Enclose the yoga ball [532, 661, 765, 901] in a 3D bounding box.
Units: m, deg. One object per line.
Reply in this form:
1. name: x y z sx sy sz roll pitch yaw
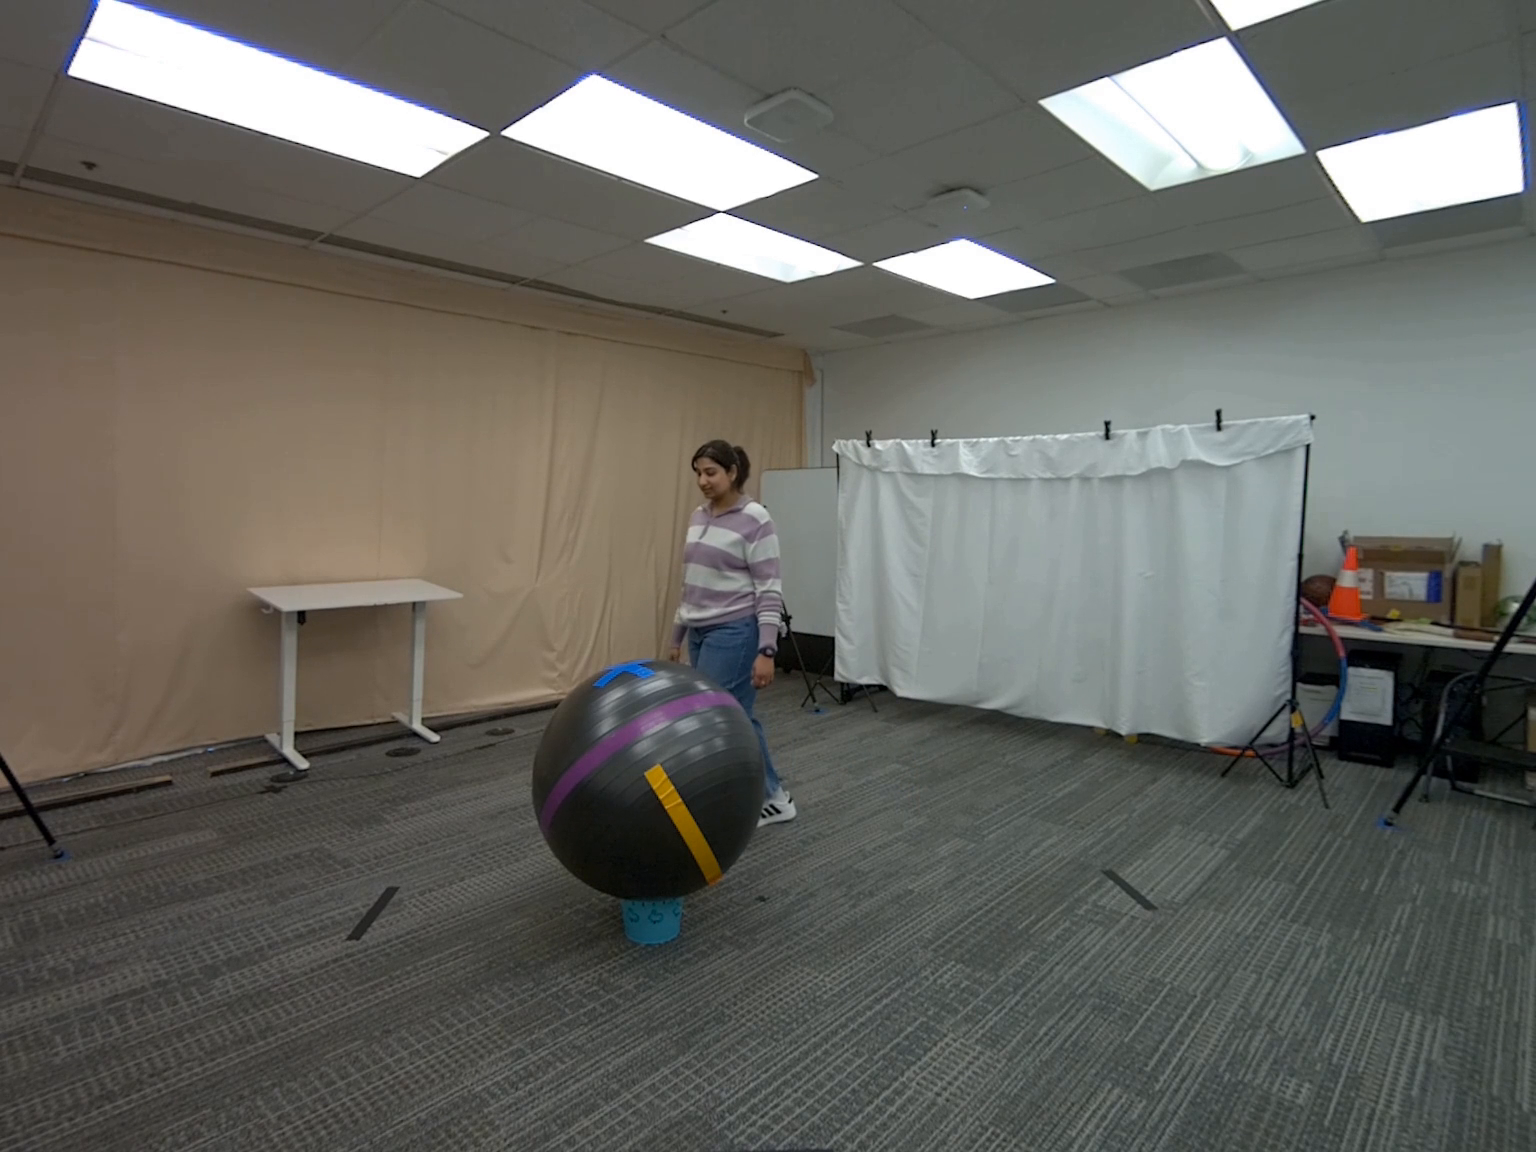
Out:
1. yoga ball: -0.395 0.659 2.744 0.757 0.756 0.760 0 4 -2
